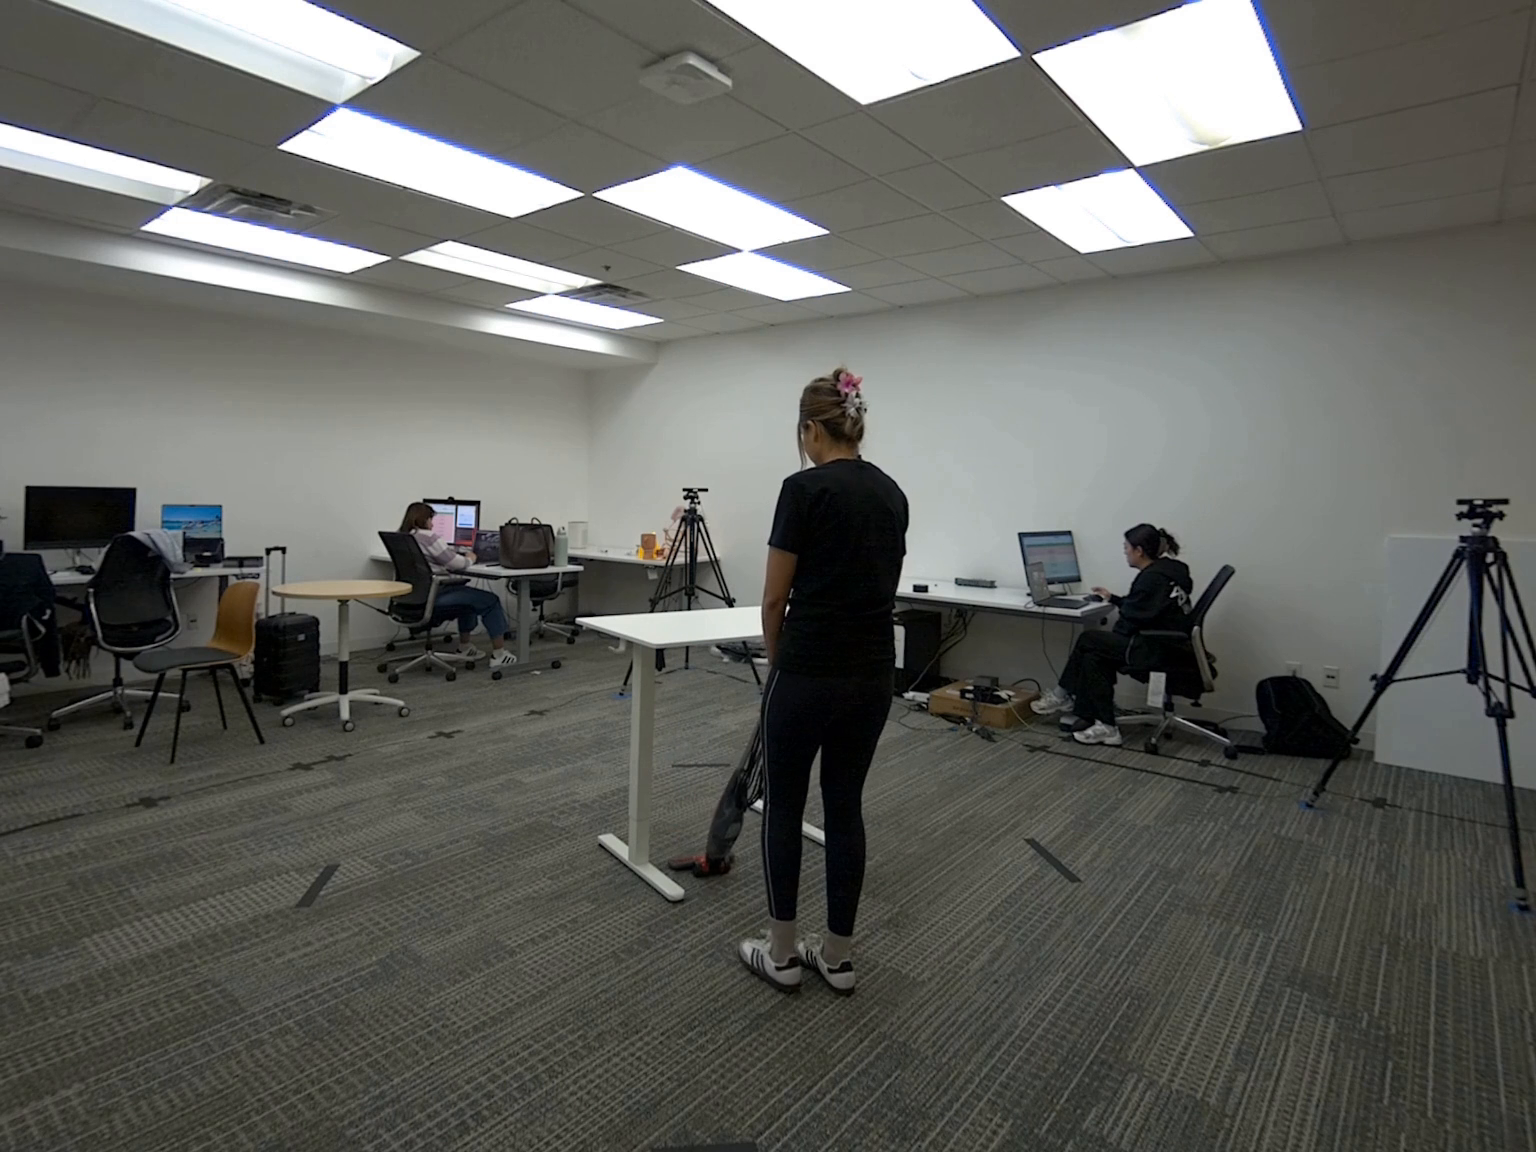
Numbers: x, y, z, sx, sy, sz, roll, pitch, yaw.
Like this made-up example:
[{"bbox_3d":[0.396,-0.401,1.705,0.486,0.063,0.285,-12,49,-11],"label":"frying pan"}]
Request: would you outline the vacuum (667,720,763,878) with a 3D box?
[{"bbox_3d":[-0.095,0.685,2.806,0.247,1.032,0.150,-10,49,-32],"label":"vacuum"}]
